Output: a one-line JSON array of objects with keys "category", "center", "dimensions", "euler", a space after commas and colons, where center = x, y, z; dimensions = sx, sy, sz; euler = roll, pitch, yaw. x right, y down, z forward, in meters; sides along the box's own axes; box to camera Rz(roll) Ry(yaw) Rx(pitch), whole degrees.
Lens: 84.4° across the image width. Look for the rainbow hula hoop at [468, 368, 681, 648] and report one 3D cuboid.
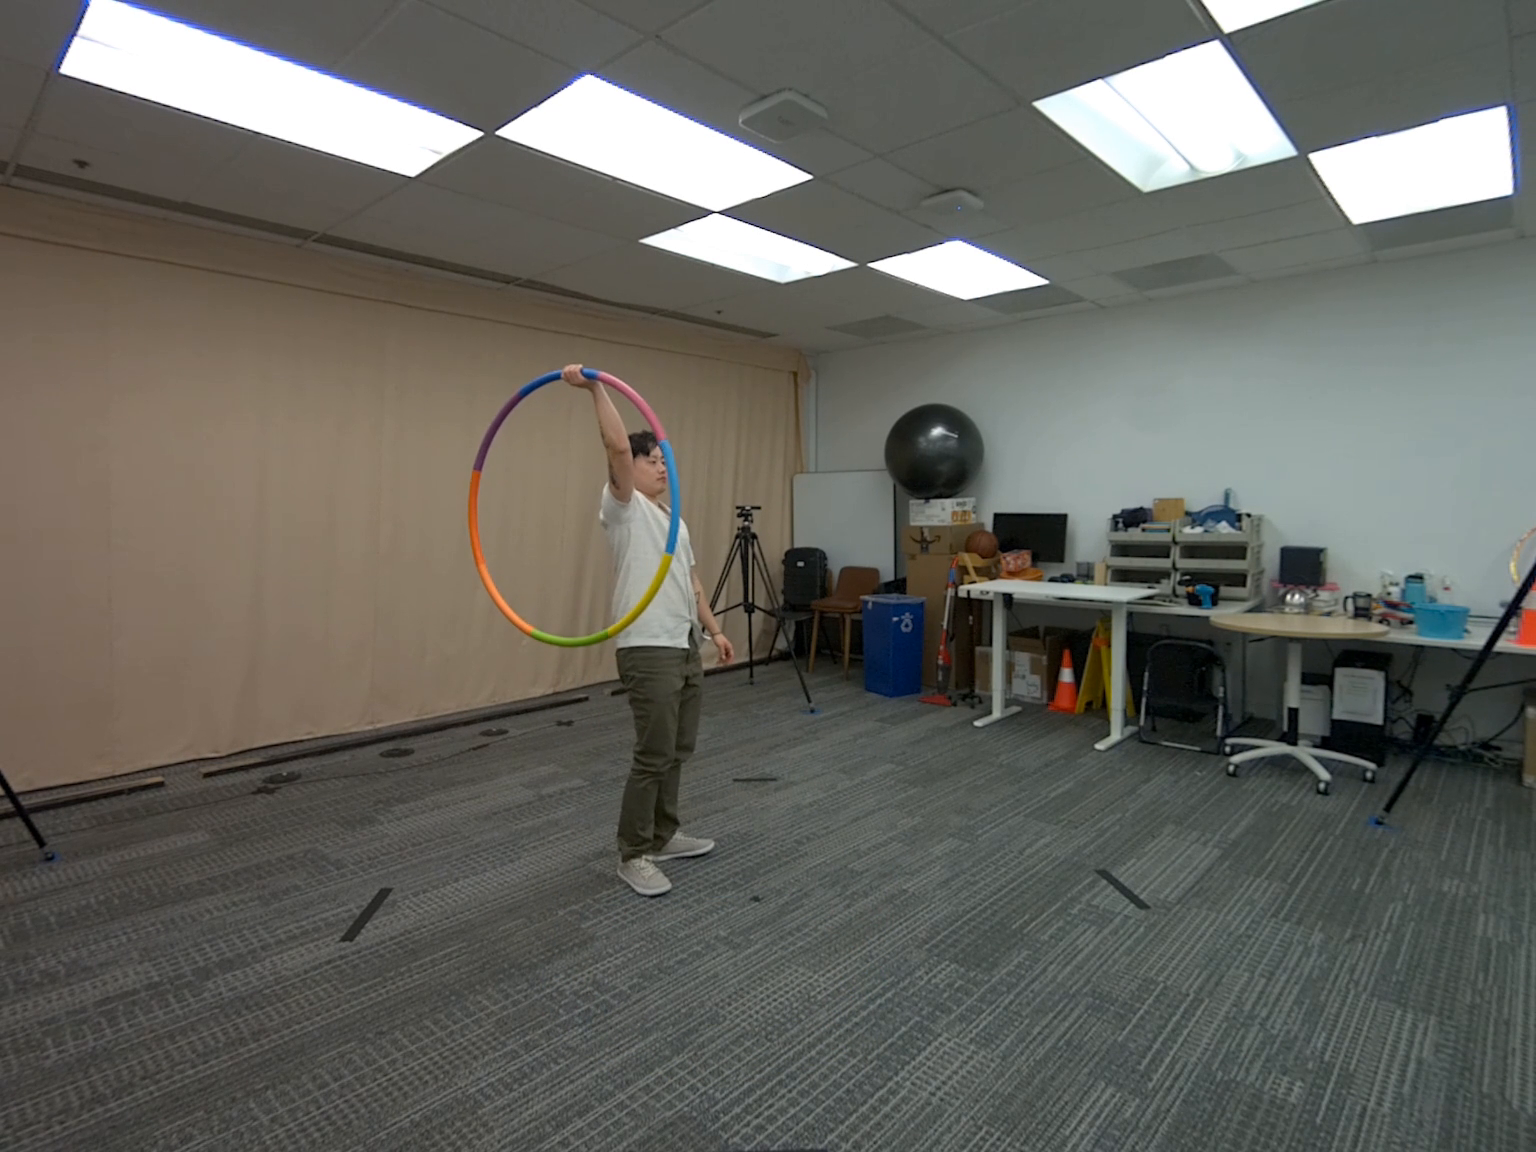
[{"category": "rainbow hula hoop", "center": [-0.714, -0.245, 2.998], "dimensions": [1.006, 0.977, 0.034], "euler": [2, 2, 29]}]
